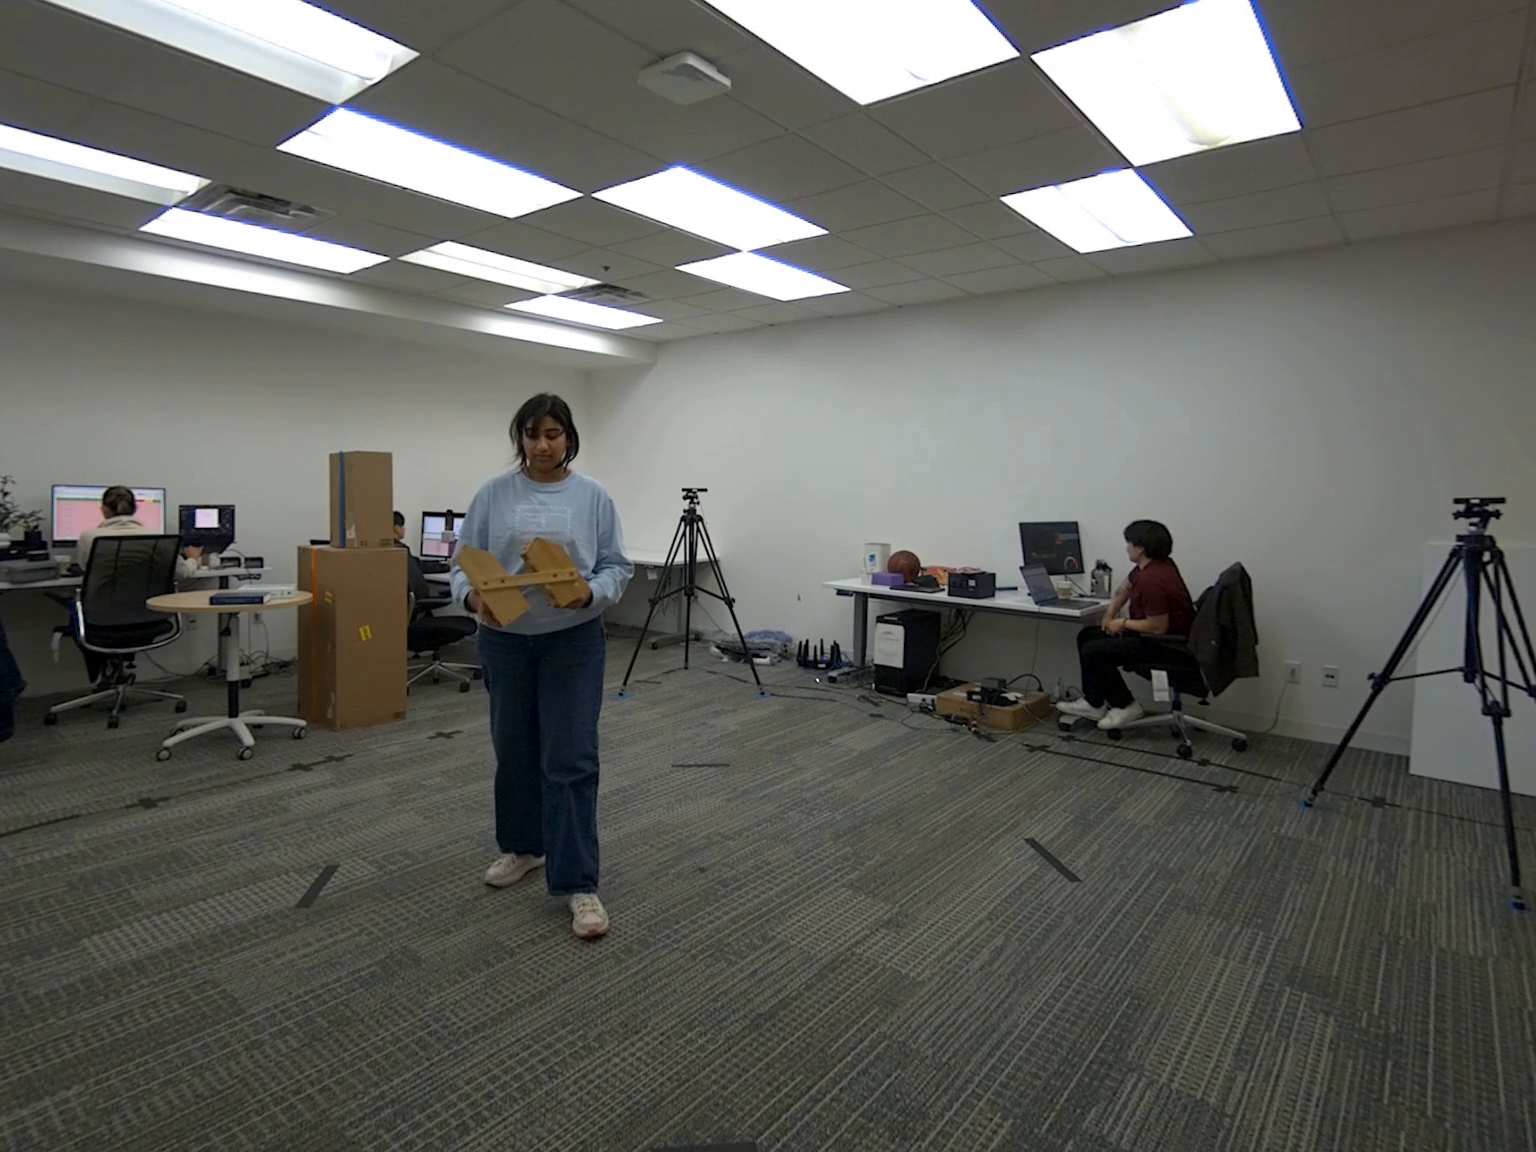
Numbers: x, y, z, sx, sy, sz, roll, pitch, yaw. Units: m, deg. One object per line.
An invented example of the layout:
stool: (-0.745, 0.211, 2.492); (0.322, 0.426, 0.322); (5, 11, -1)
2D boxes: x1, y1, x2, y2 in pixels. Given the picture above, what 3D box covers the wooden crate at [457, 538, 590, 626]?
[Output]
wooden crate: (-0.756, -0.016, 2.544); (0.272, 0.299, 0.330); (-35, 9, -18)
